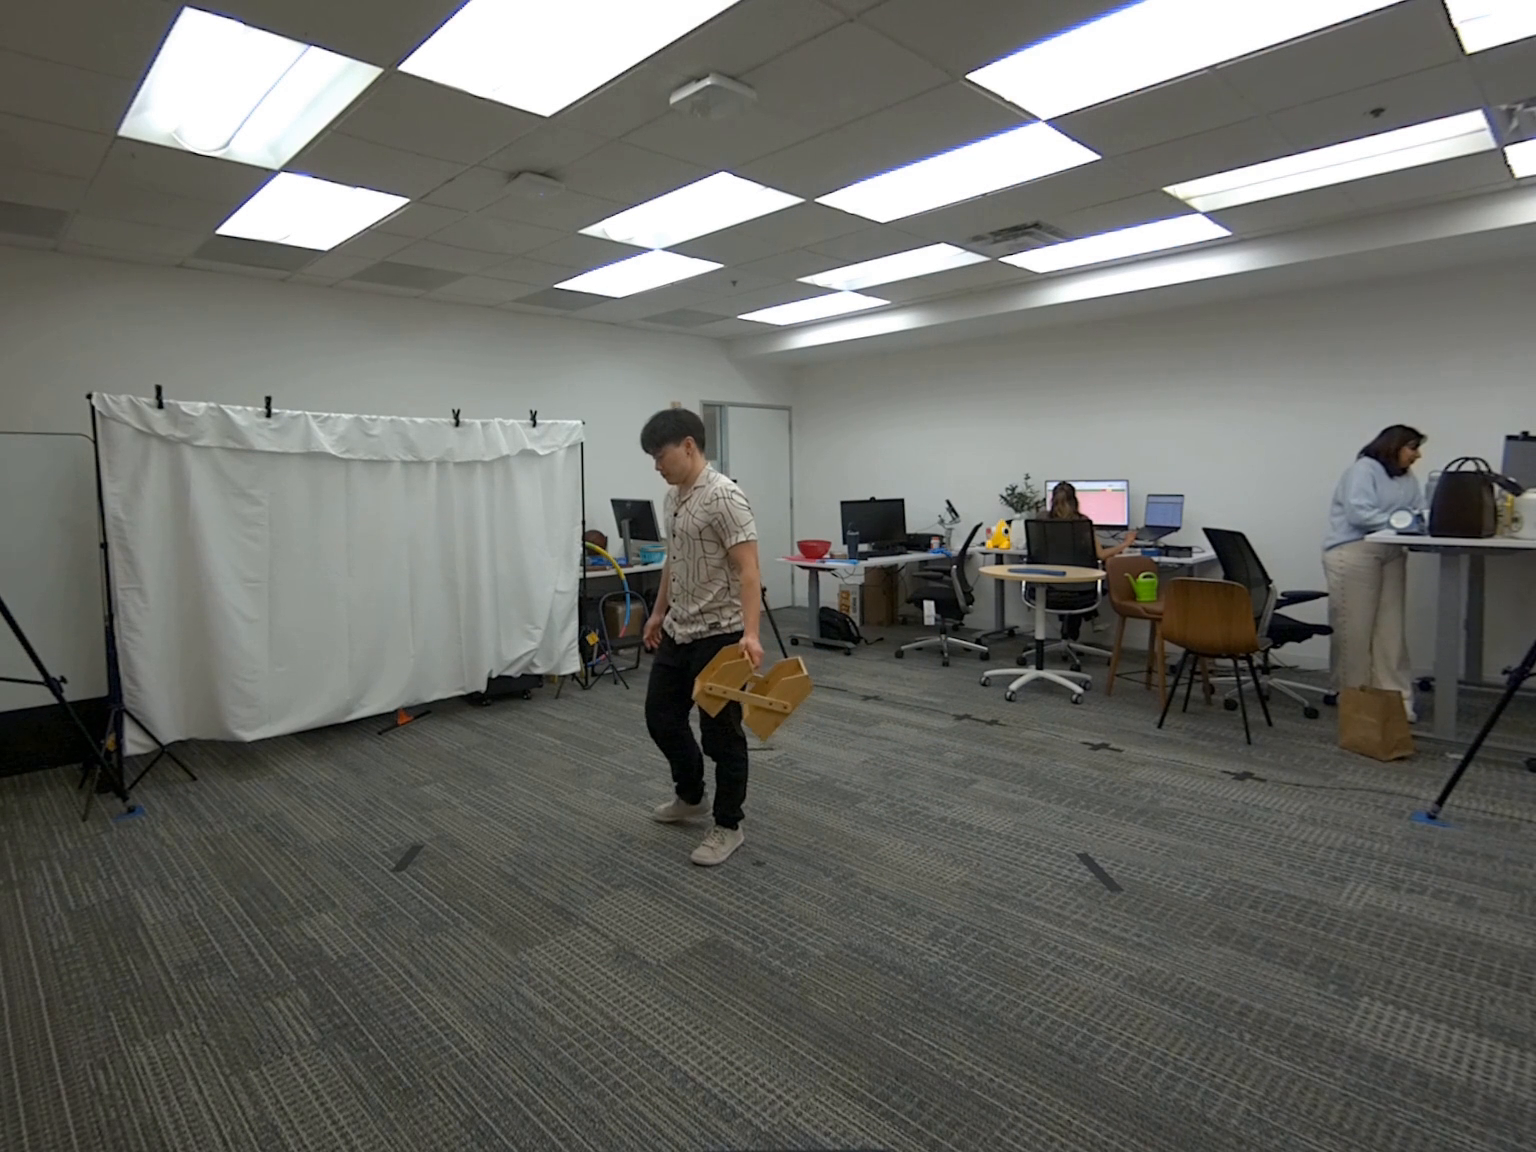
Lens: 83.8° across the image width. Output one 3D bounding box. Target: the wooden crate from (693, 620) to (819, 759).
[{"bbox_3d":[-0.056,0.342,2.805,0.272,0.302,0.326,43,3,-4],"label":"wooden crate"}]
